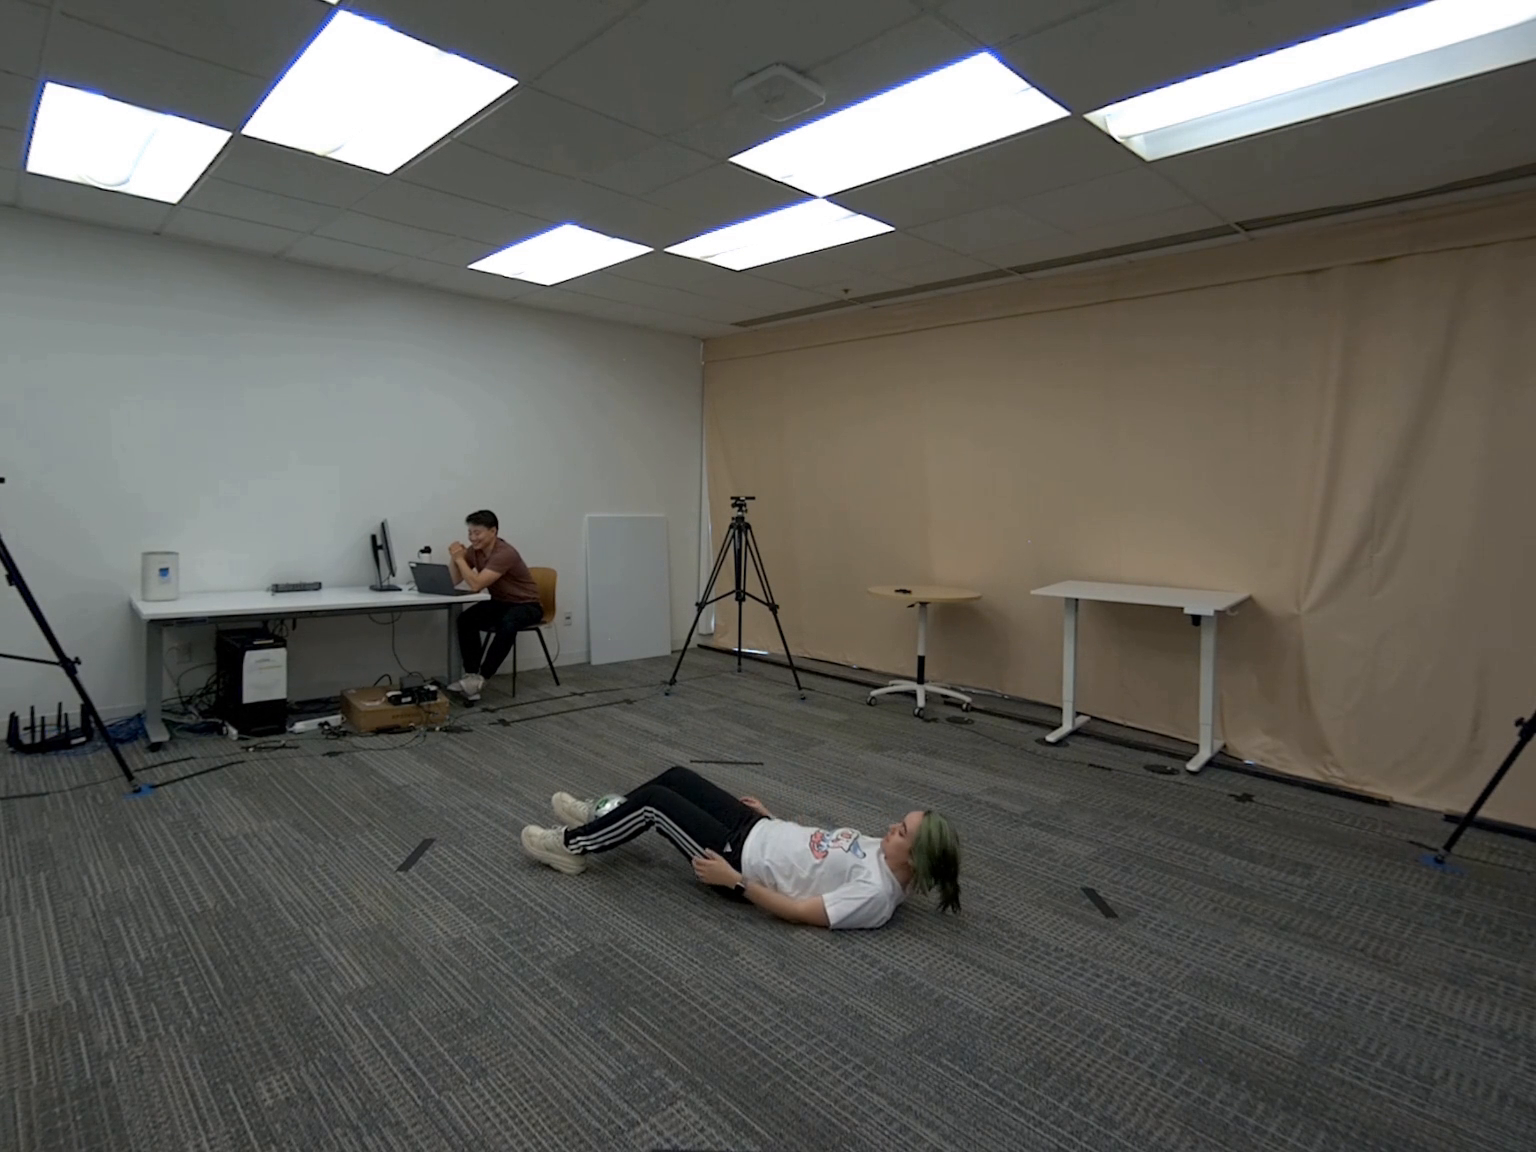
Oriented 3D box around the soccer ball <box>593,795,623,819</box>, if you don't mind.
[{"bbox_3d":[-0.587,0.926,3.187,0.187,0.187,0.188,1,4,-1],"label":"soccer ball"}]
